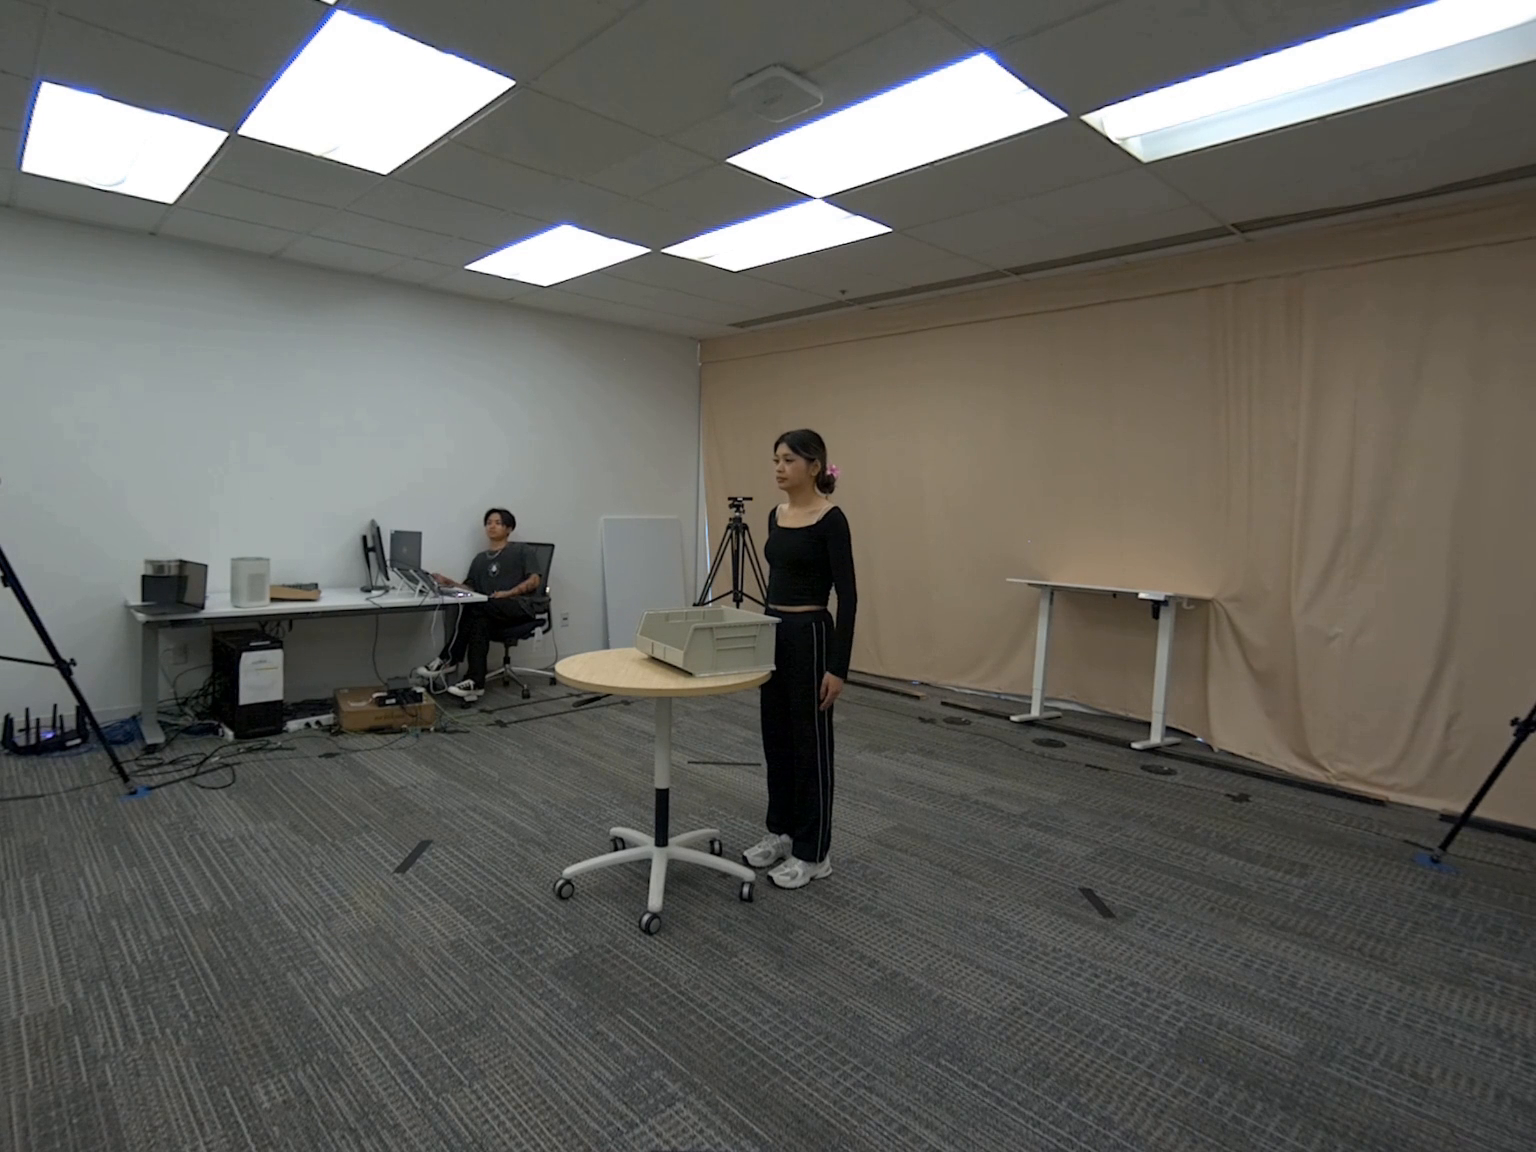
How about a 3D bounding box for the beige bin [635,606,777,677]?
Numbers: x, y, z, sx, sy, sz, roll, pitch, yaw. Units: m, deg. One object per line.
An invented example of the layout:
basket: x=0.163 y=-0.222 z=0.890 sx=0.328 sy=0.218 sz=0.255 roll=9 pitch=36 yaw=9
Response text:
beige bin: x=-0.233 y=0.228 z=3.022 sx=0.369 sy=0.188 sz=0.432 roll=-1 pitch=5 yaw=-31
